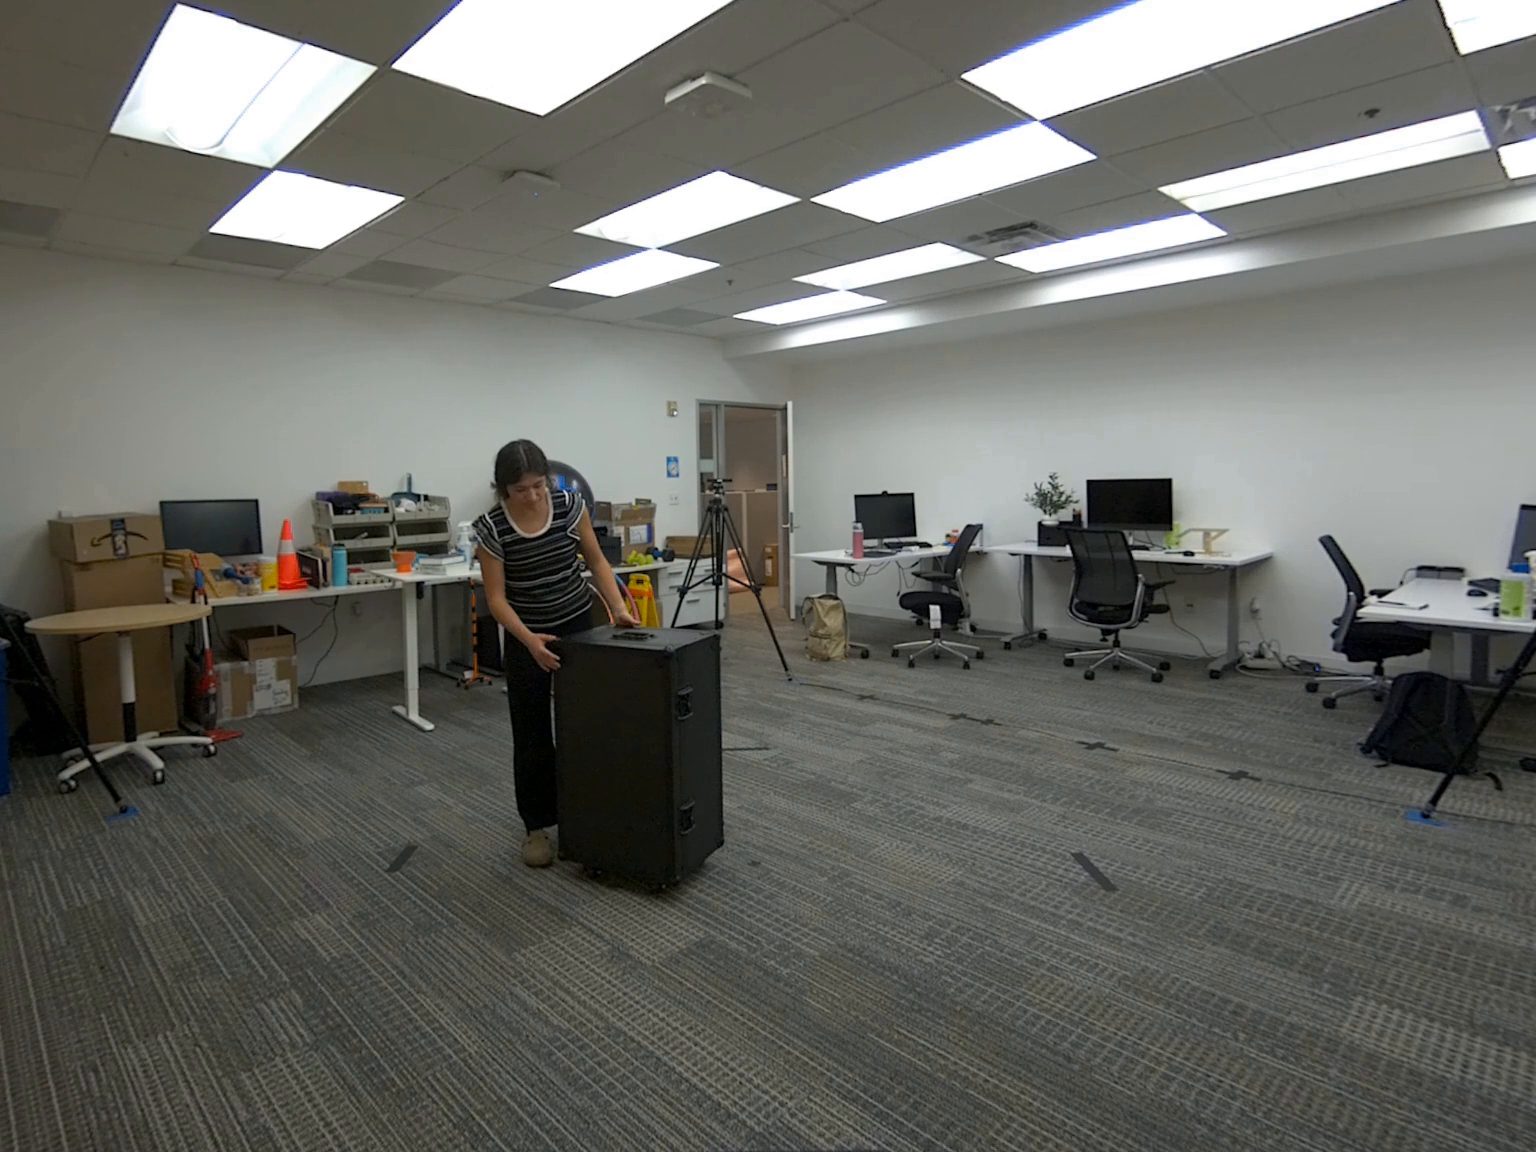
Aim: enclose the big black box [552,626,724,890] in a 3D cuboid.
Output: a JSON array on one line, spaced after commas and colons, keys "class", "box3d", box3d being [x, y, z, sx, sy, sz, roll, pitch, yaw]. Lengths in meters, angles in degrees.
[{"class": "big black box", "box3d": [-0.443, 0.637, 3.031, 0.533, 0.859, 0.388, 0, 4, 26]}]
